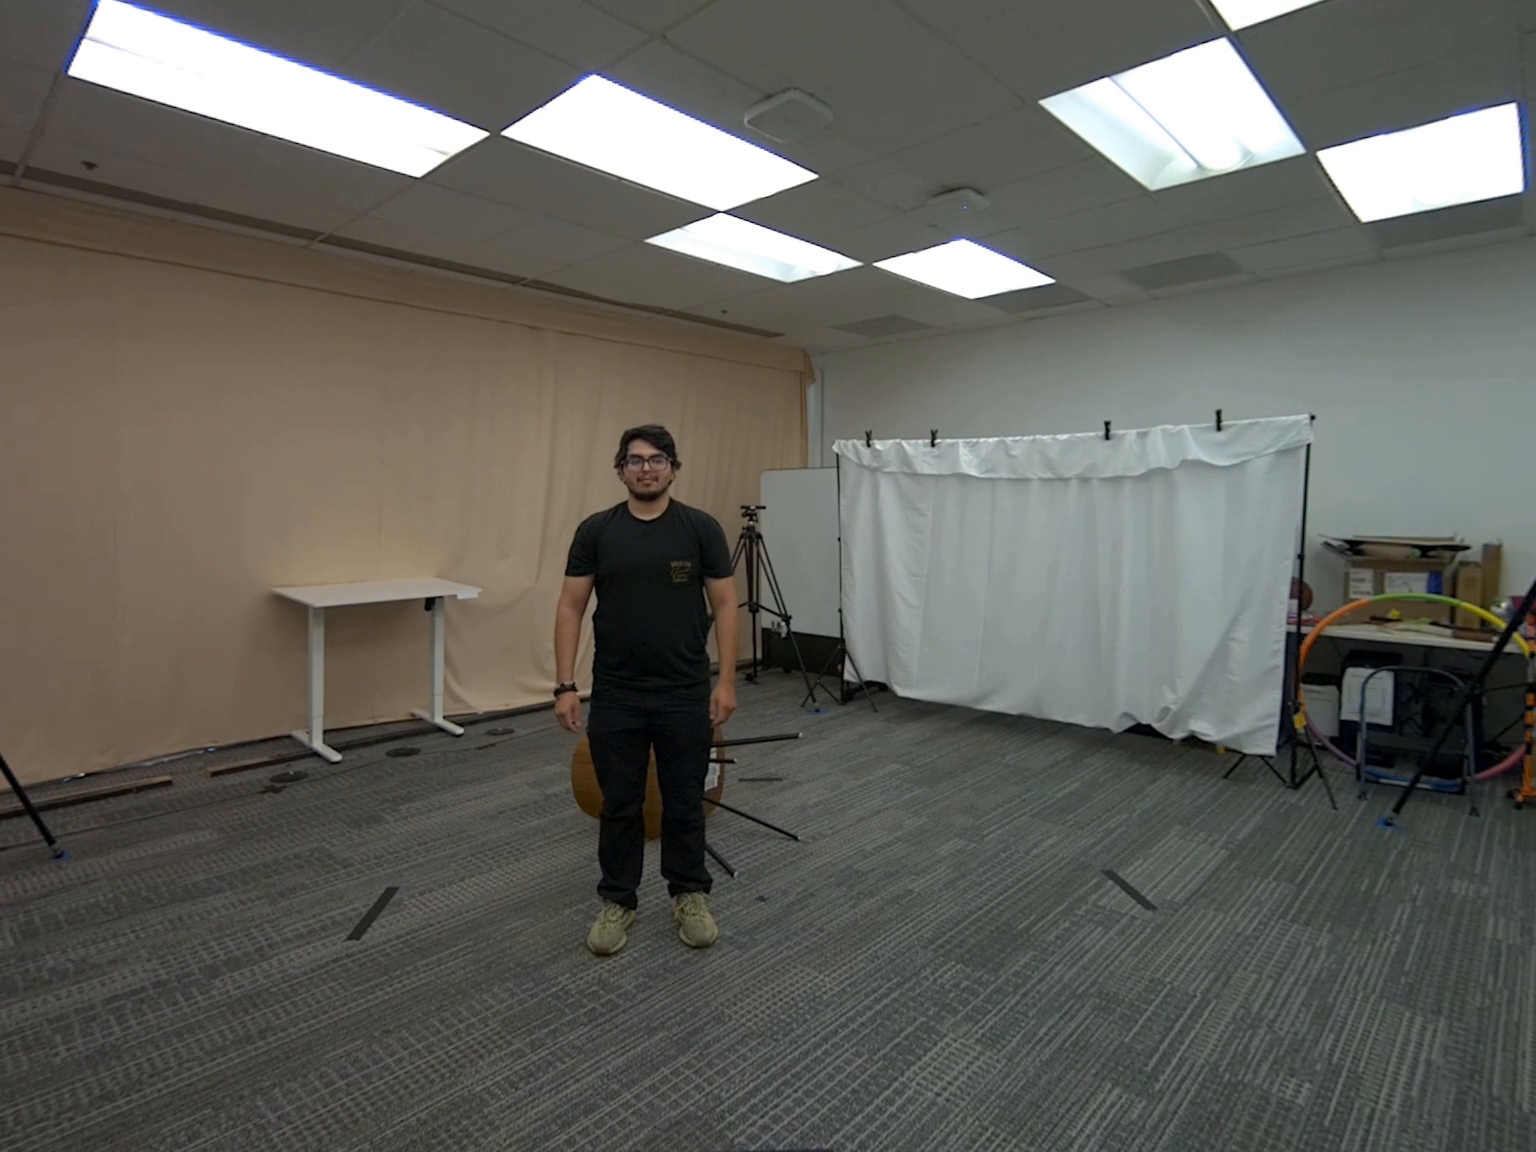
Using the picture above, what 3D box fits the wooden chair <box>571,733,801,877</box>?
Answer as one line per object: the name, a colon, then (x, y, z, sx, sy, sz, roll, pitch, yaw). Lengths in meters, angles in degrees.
wooden chair: (-0.341, 0.867, 3.579, 0.904, 0.477, 0.509, 3, 5, 32)
